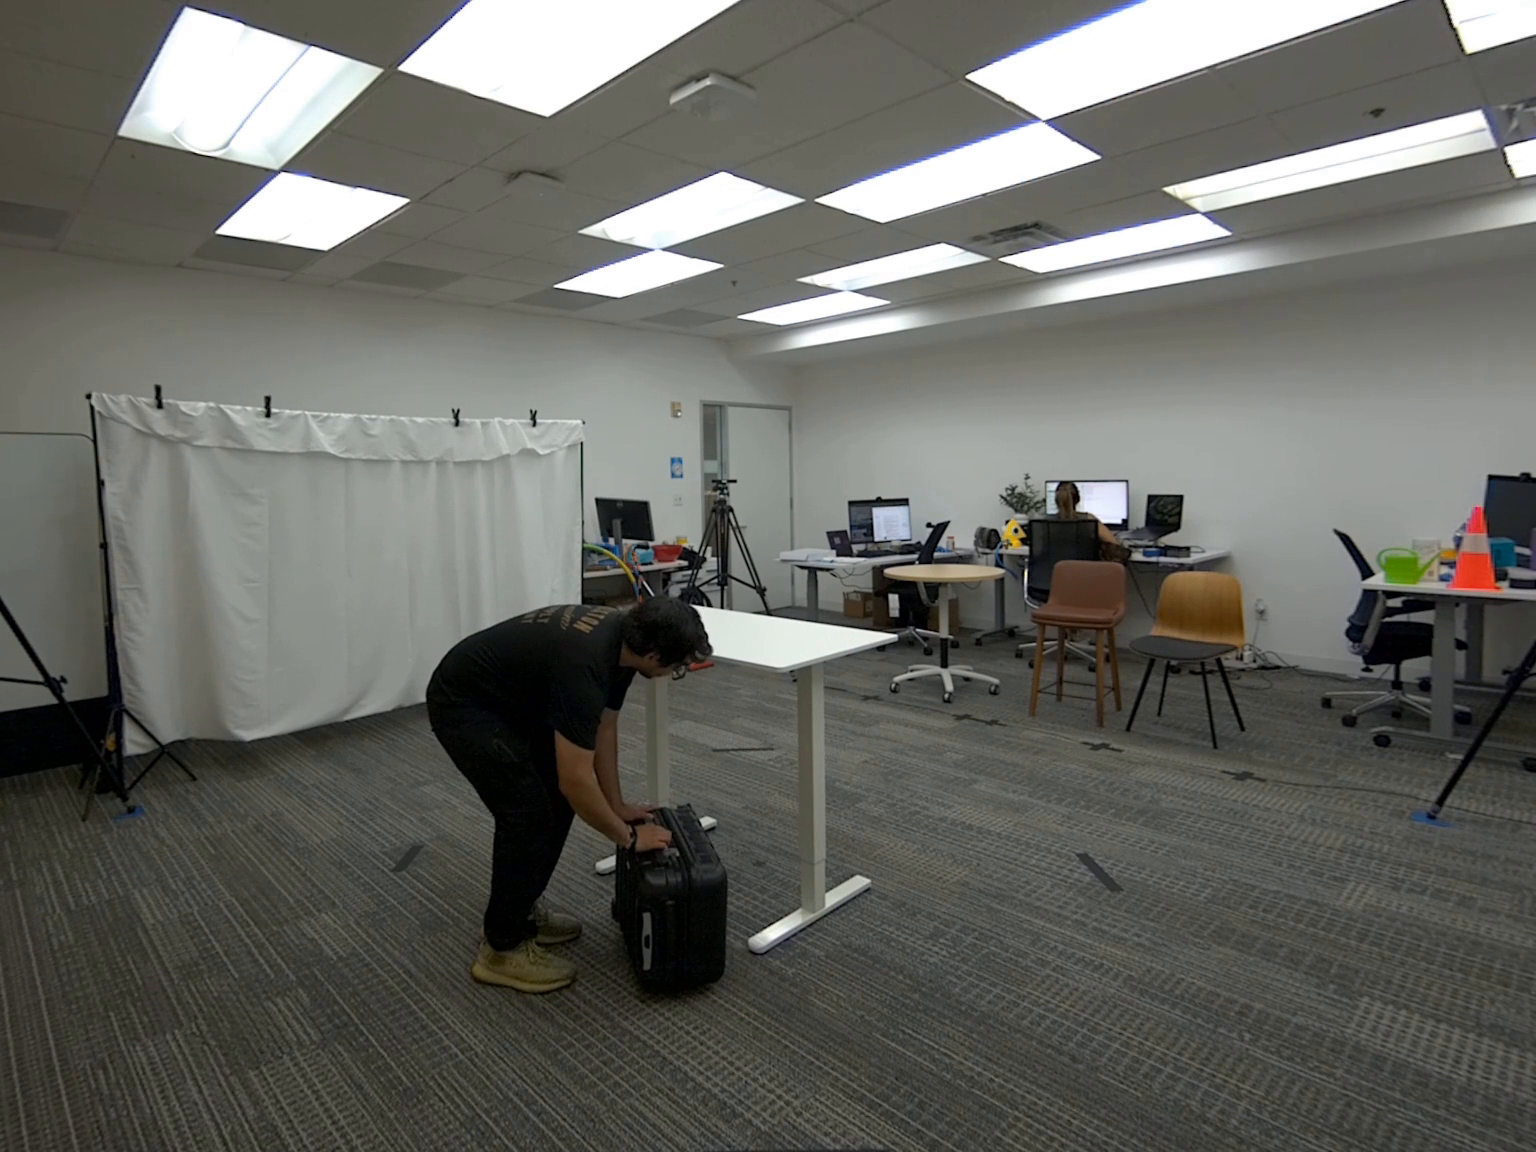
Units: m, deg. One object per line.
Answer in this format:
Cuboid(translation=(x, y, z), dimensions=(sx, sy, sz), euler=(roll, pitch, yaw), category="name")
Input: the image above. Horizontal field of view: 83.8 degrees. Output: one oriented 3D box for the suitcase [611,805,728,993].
Cuboid(translation=(-0.294, 0.927, 2.527), dimensions=(0.244, 0.374, 0.560), euler=(0, 4, -18), category="suitcase")
